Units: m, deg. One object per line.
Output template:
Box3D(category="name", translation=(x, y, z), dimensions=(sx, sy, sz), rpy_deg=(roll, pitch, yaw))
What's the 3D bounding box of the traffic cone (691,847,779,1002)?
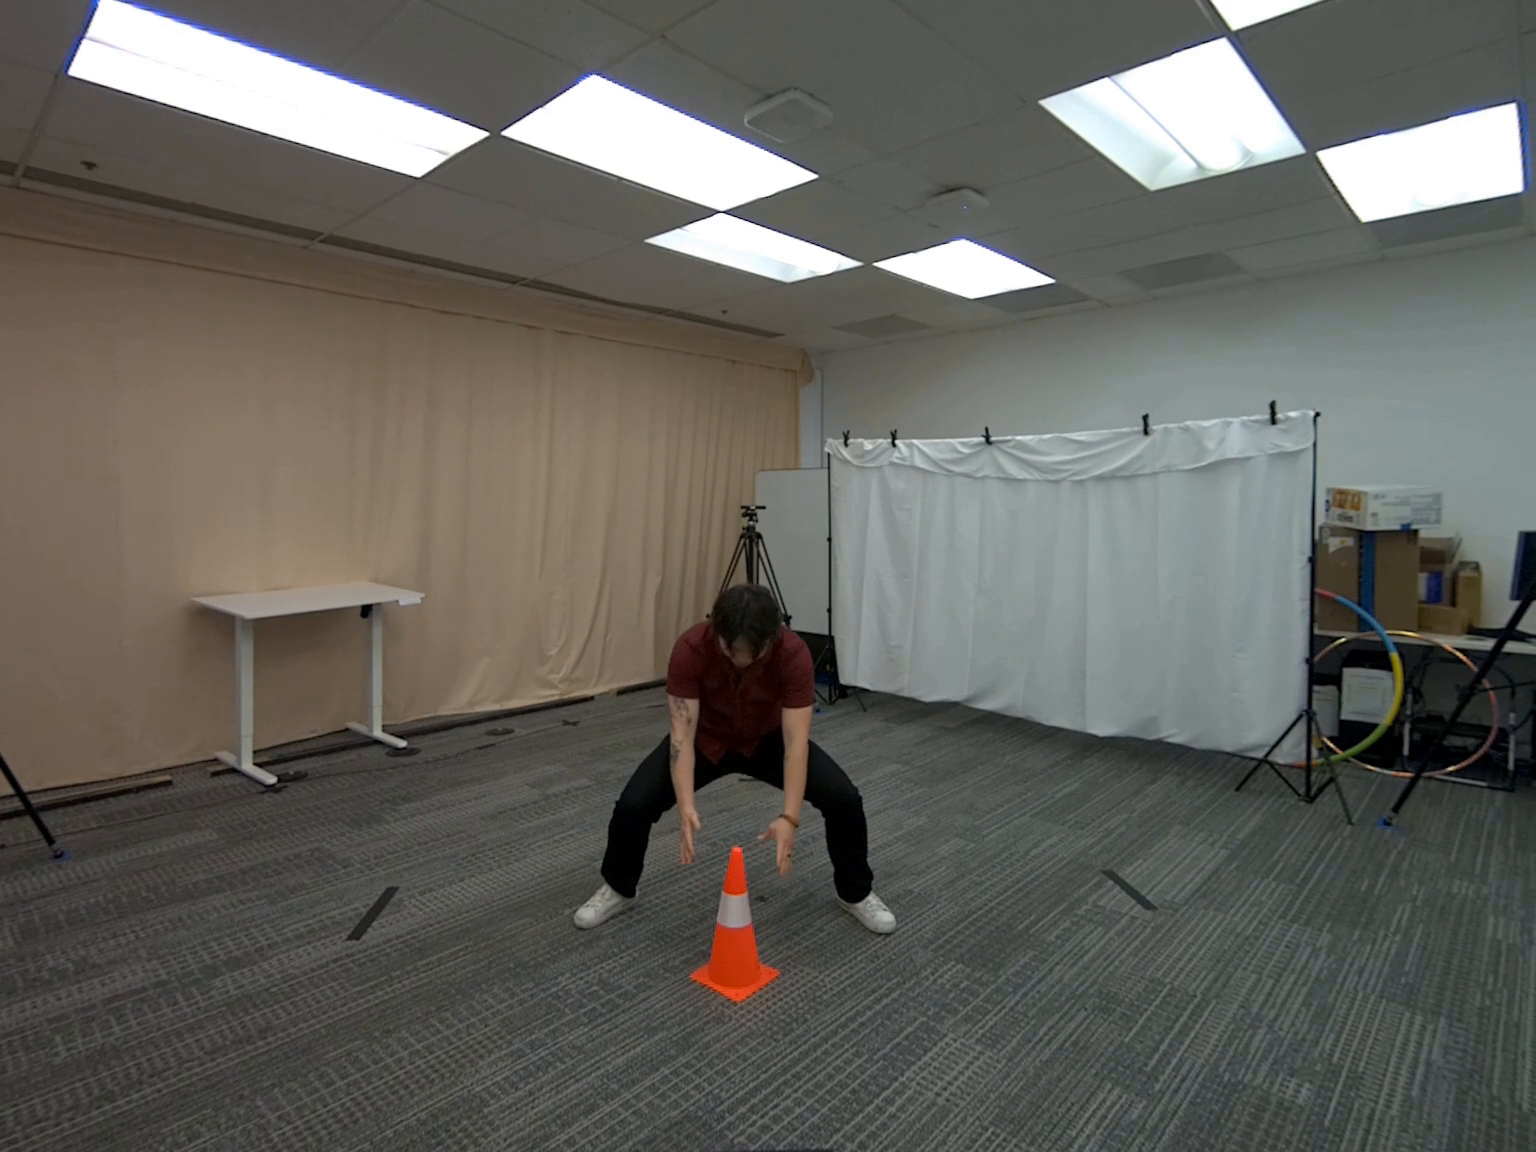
Box3D(category="traffic cone", translation=(-0.095, 1.002, 2.484), dimensions=(0.197, 0.383, 0.212), rpy_deg=(-3, 5, -39))
